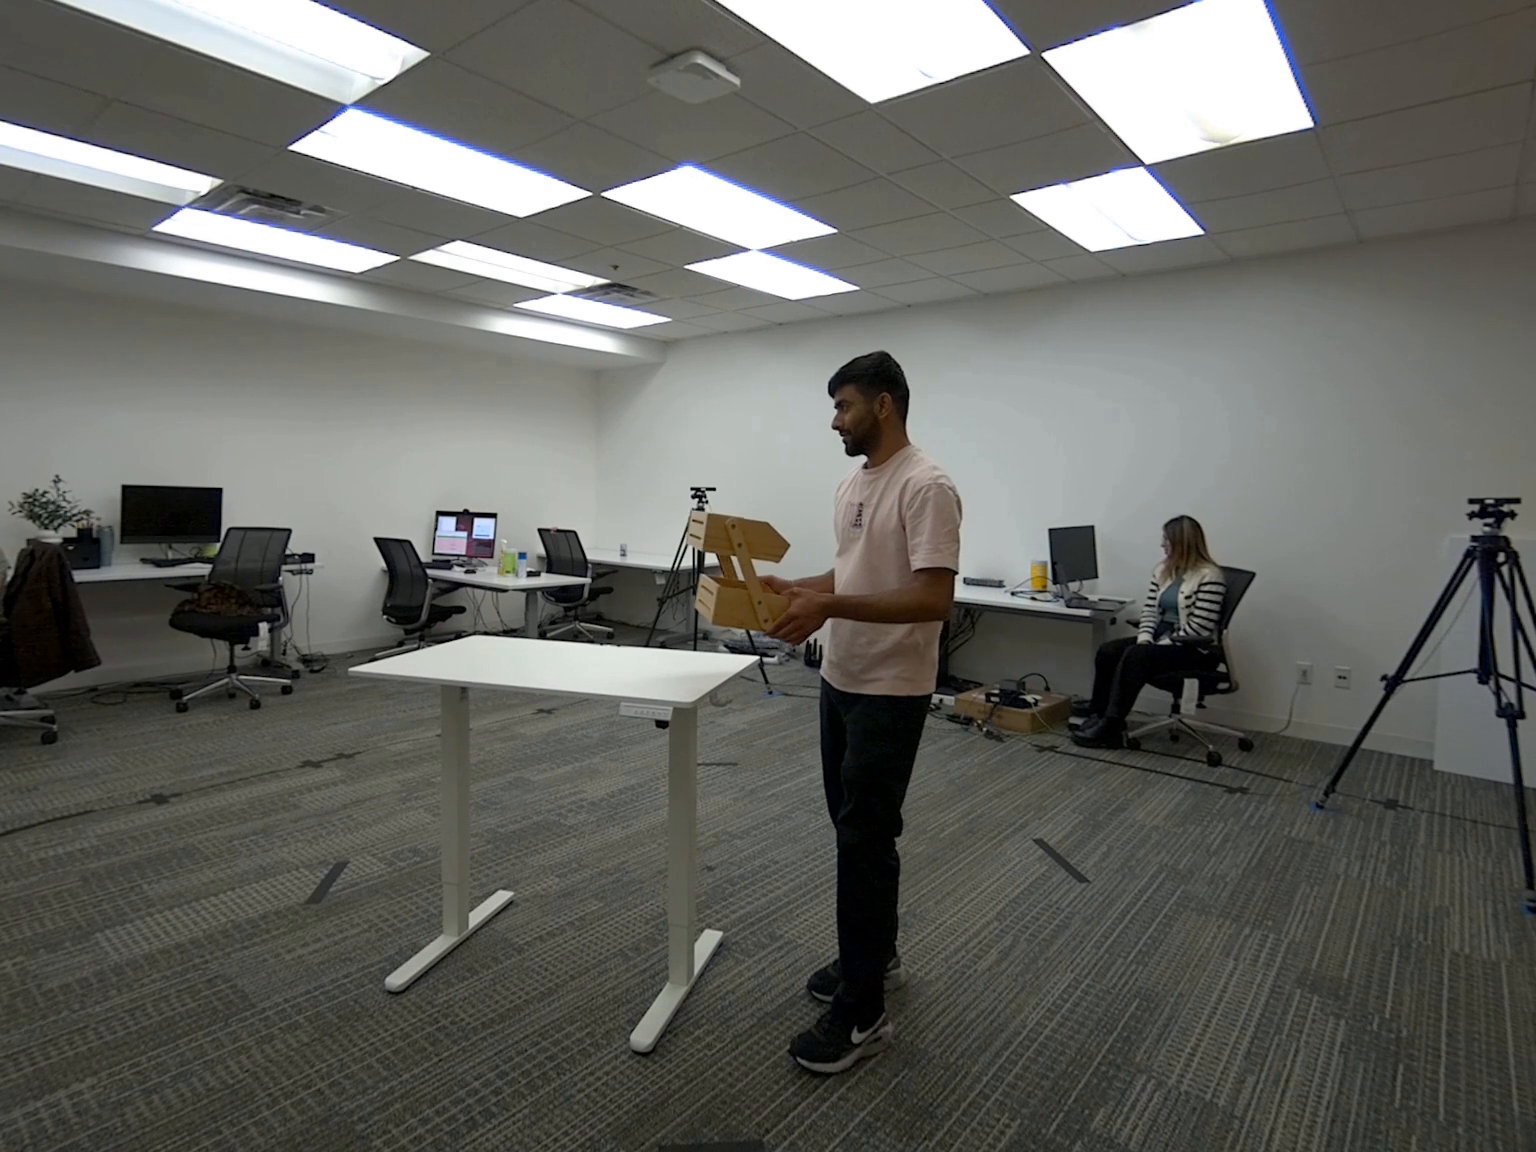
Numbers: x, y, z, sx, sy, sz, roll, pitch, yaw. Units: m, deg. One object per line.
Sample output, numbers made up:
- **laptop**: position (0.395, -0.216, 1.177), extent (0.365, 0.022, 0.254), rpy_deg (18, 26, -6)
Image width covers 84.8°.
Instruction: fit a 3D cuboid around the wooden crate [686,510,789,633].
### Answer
- **wooden crate**: position (-0.054, -0.021, 2.164), extent (0.298, 0.273, 0.329), rpy_deg (8, 2, -12)
